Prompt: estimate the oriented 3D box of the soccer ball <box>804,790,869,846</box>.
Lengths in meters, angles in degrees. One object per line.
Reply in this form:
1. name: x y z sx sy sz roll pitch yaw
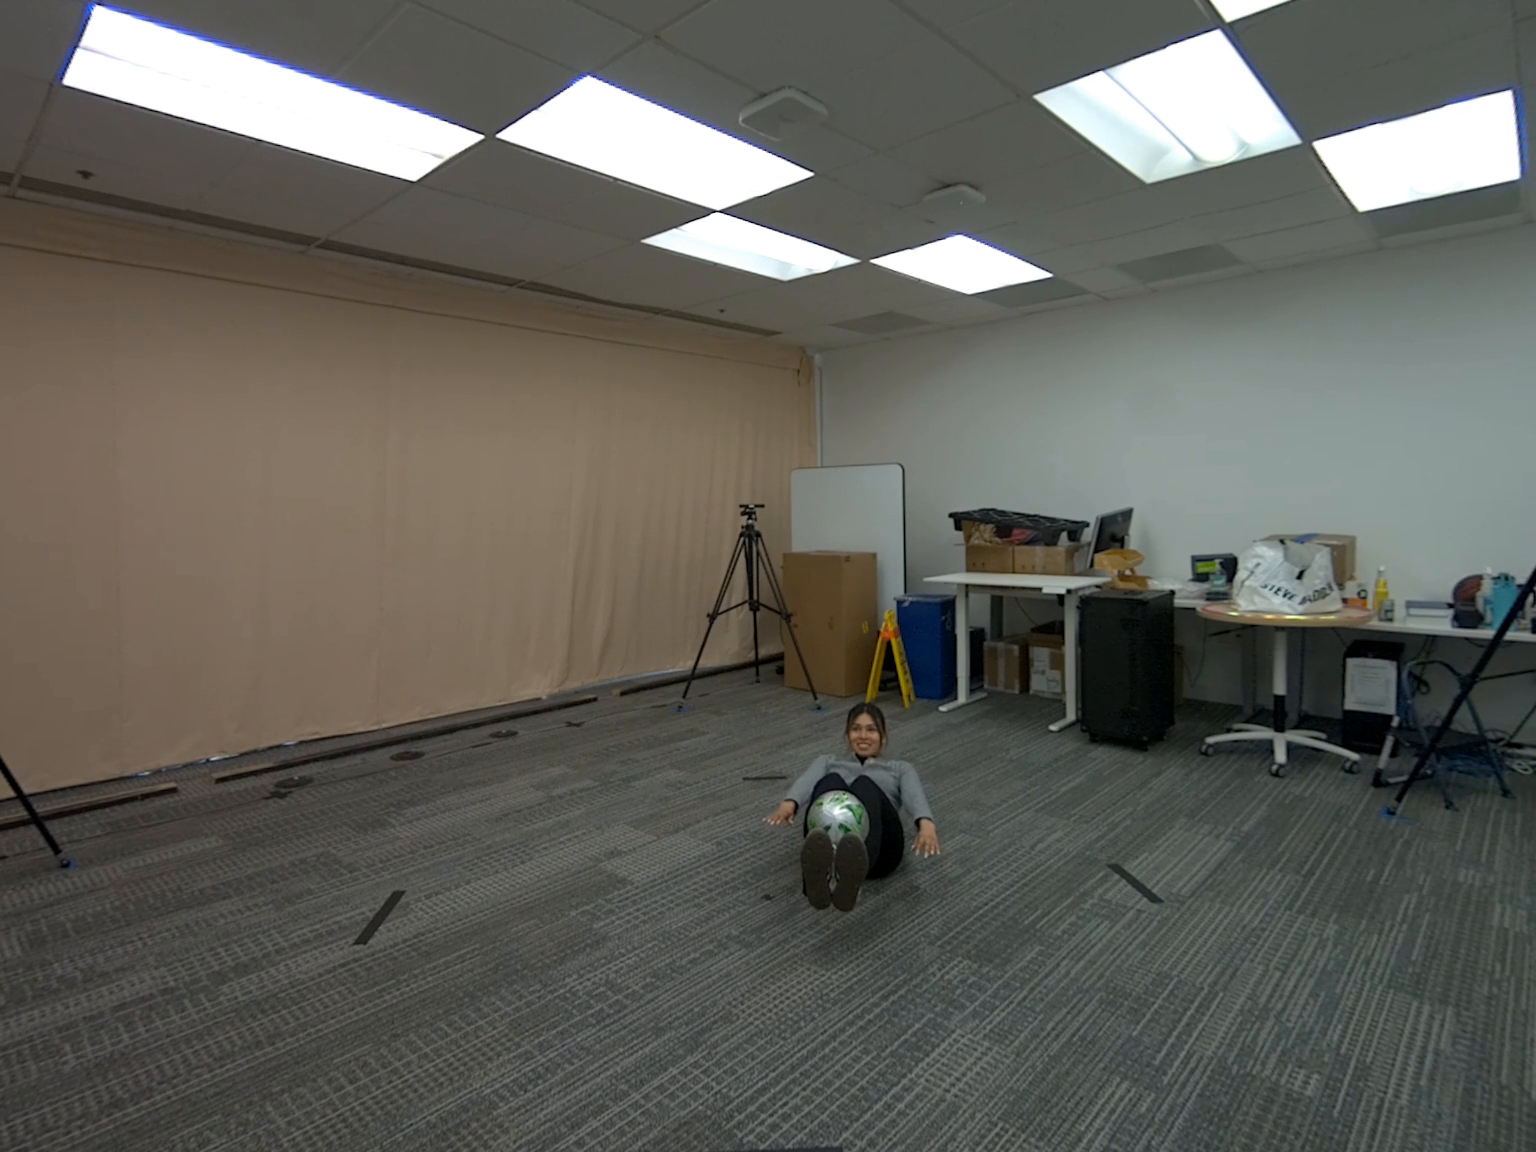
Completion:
1. soccer ball: 0.218 0.751 2.576 0.187 0.187 0.188 -1 4 -2
